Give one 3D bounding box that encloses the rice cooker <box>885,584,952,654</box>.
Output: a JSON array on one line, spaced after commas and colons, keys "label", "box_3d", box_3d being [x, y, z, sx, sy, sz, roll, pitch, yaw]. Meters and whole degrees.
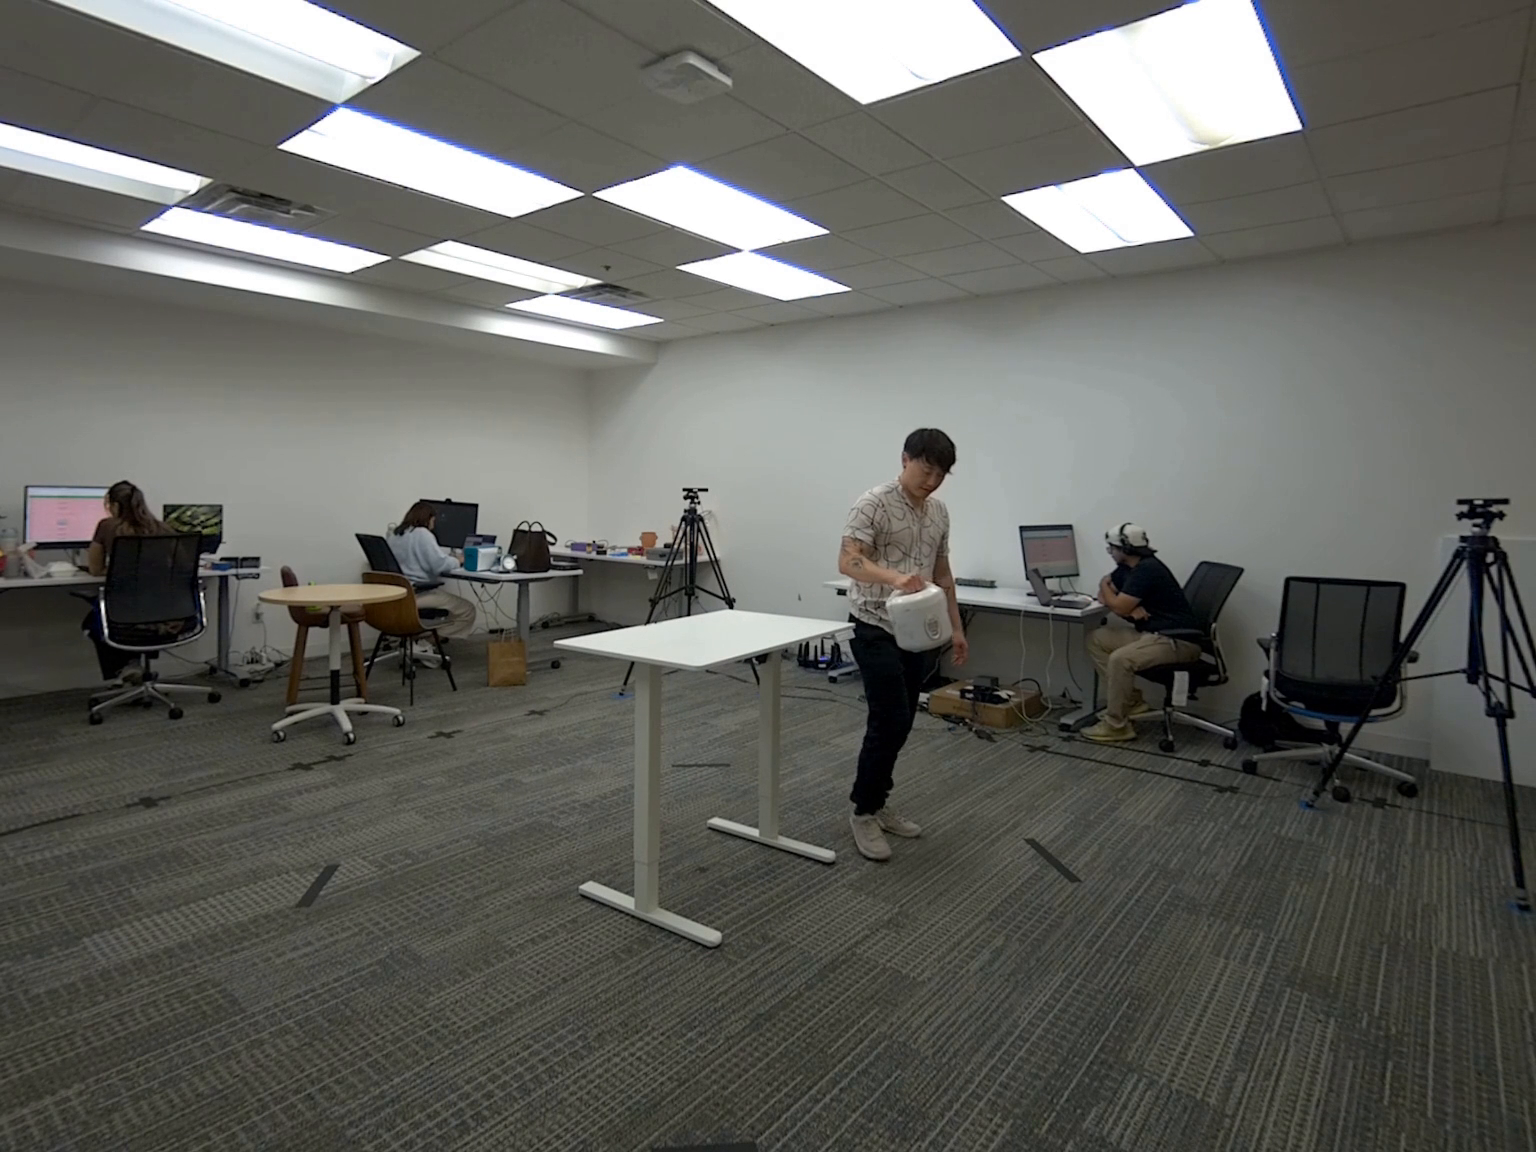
[{"label": "rice cooker", "box_3d": [0.541, 0.137, 3.097, 0.219, 0.232, 0.220, -16, 4, -8]}]
